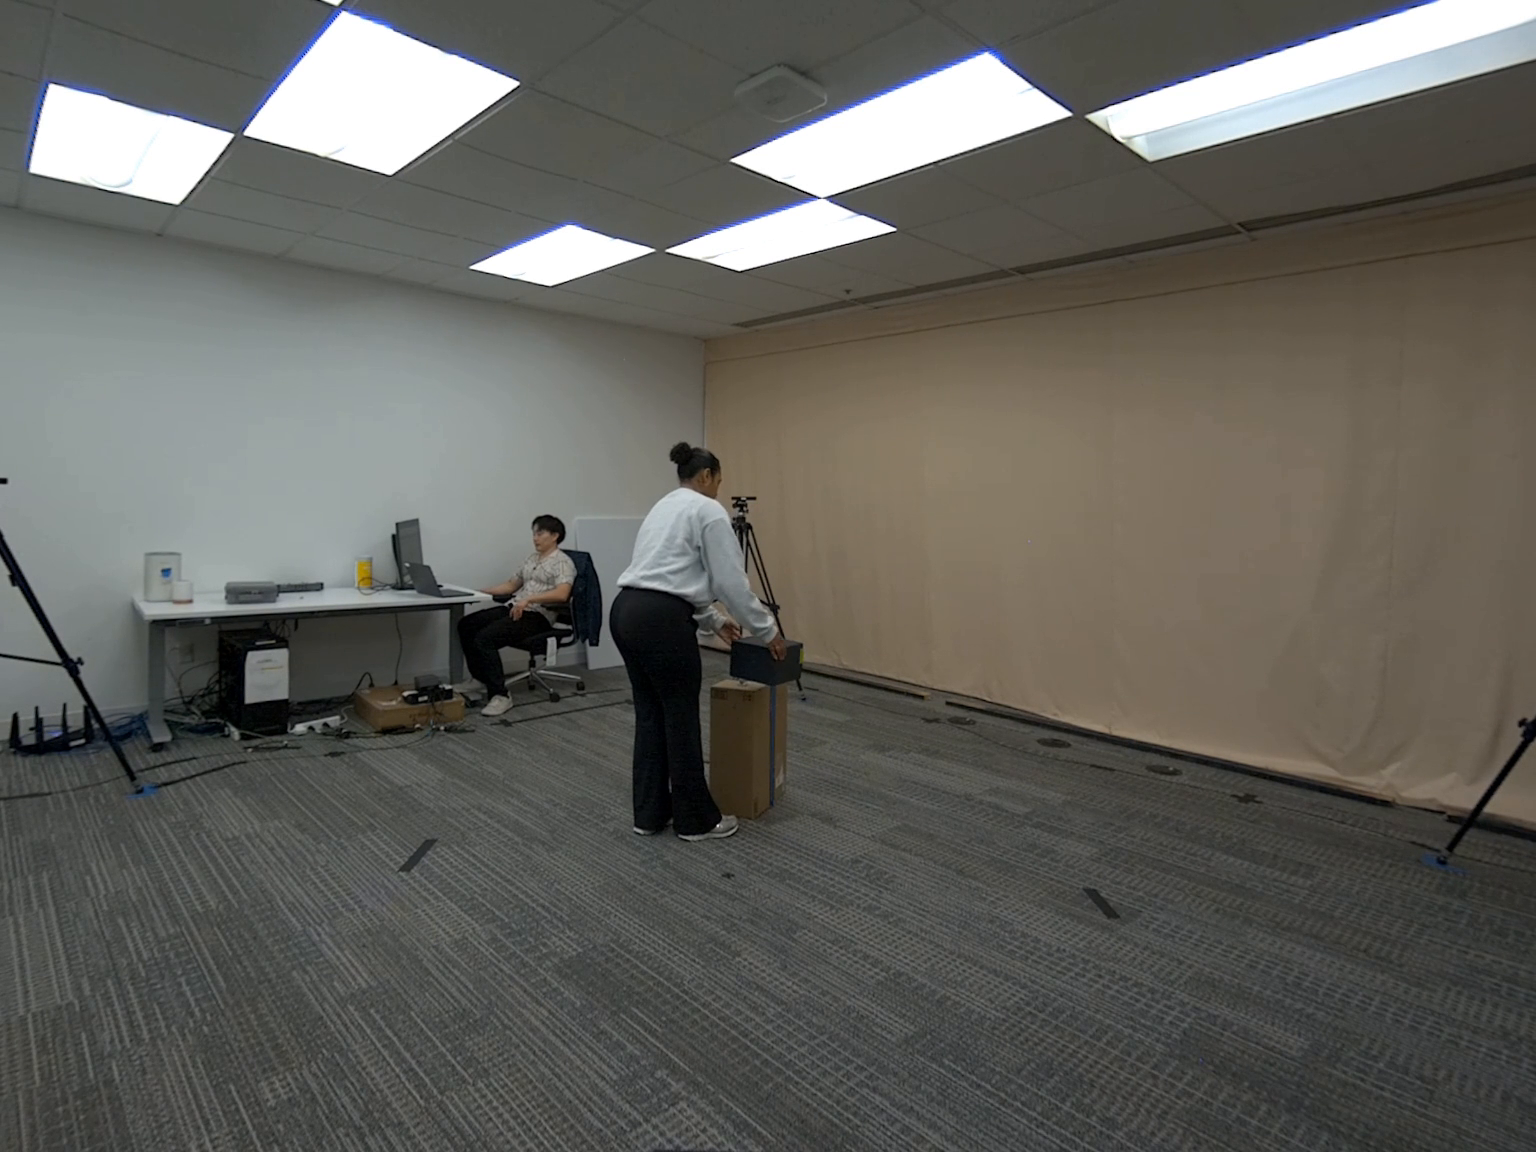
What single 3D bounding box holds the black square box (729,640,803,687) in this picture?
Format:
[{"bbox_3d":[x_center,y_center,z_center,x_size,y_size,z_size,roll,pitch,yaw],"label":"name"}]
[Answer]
[{"bbox_3d":[-0.018,0.353,3.570,0.233,0.155,0.212,8,7,34],"label":"black square box"}]
